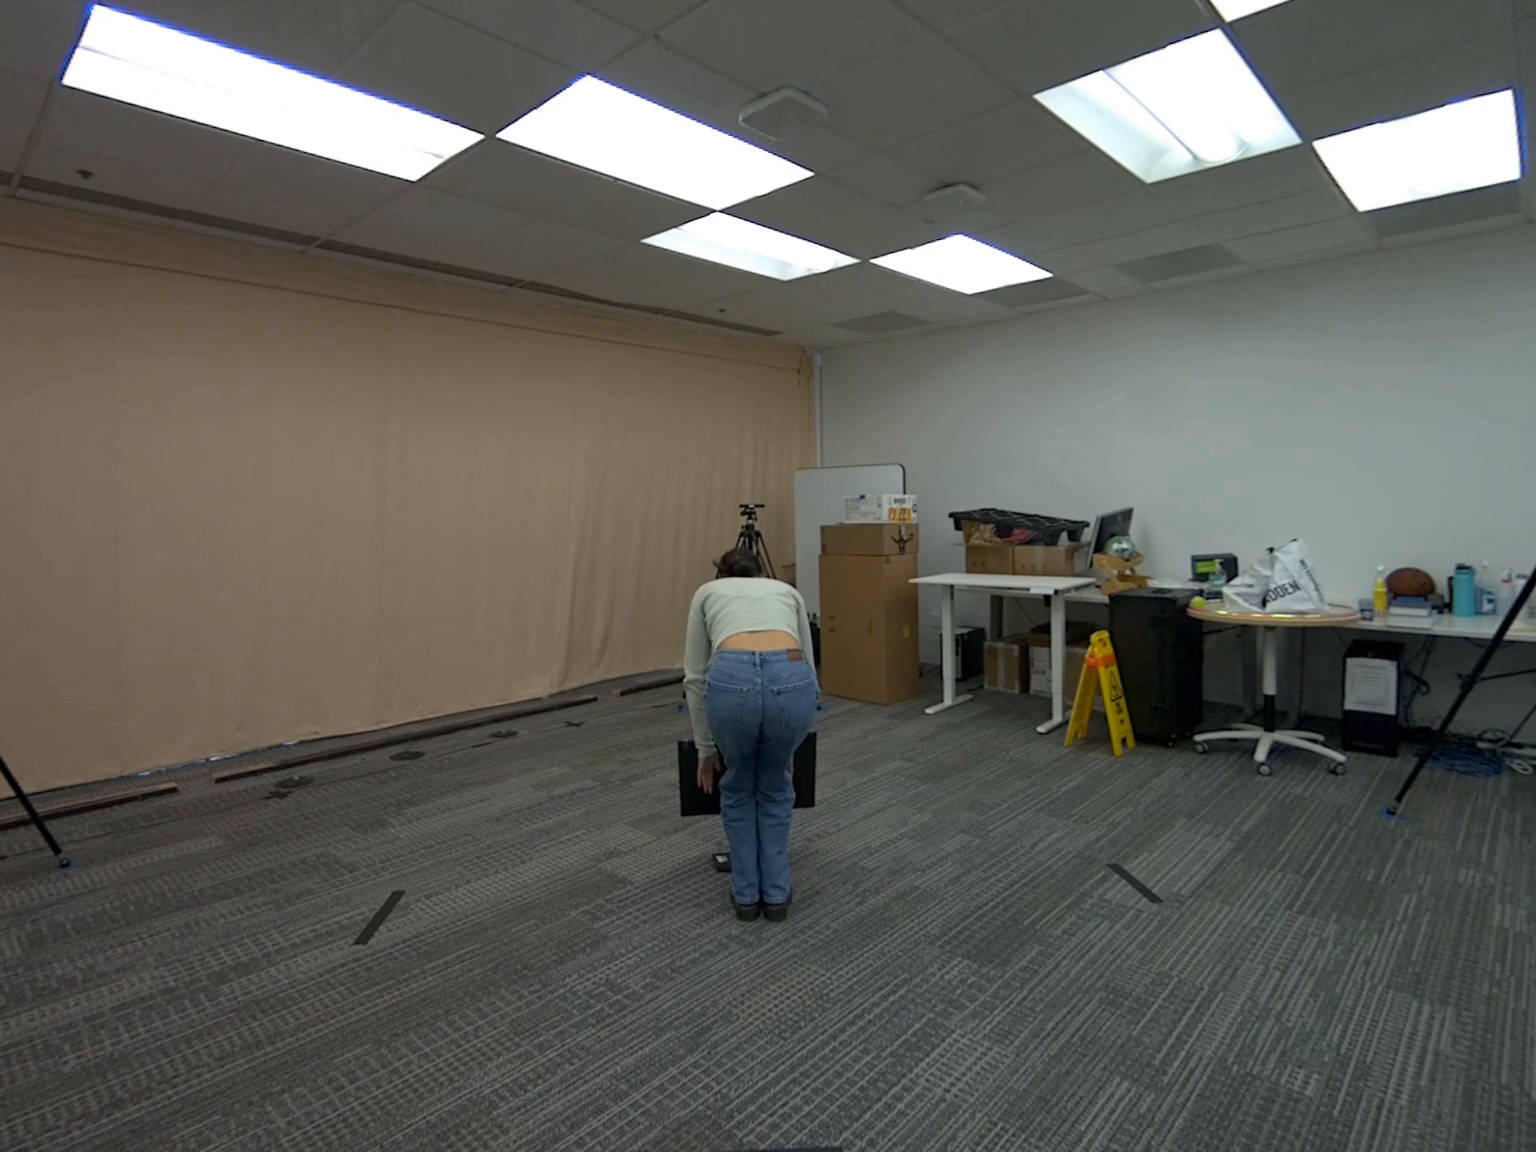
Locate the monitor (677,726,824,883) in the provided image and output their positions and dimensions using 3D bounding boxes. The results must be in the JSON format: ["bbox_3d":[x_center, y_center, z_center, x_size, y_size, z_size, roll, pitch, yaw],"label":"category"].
[{"bbox_3d":[-0.073,0.862,3.244,0.527,0.515,0.176,-2,3,-5],"label":"monitor"}]
